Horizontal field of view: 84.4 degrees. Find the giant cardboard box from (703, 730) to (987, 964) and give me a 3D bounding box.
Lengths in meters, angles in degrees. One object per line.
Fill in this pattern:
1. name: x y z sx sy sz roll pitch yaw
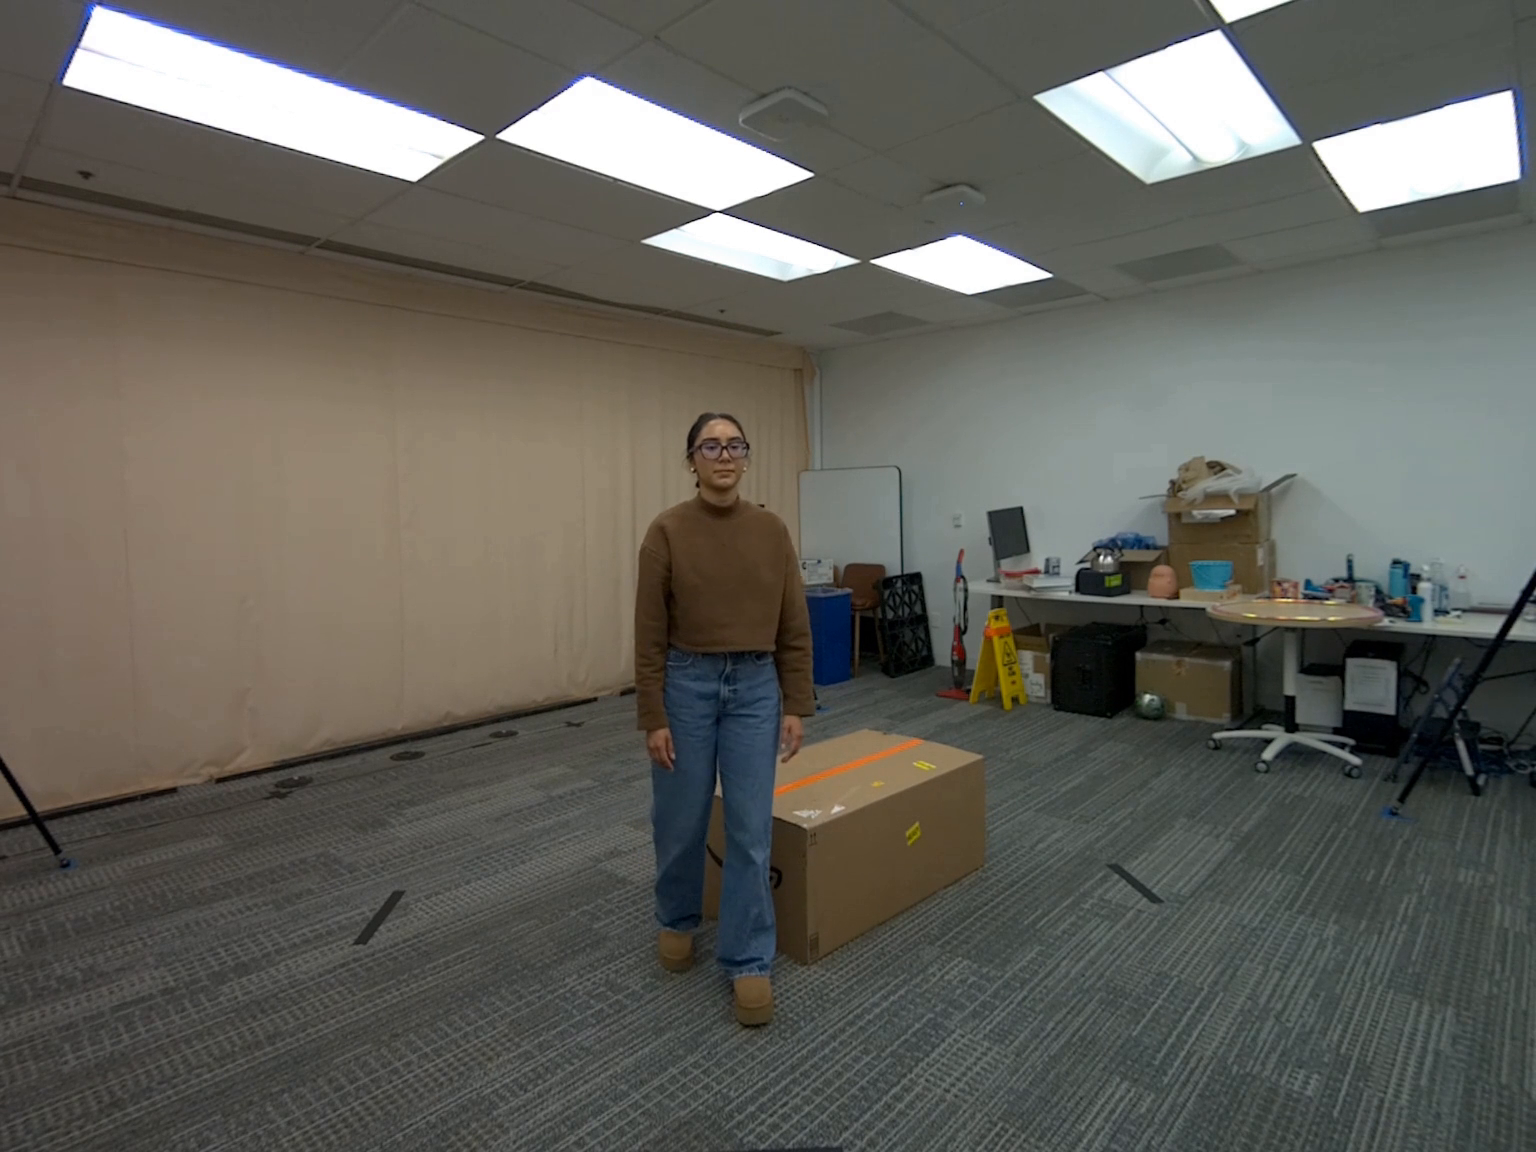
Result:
1. giant cardboard box: 0.272 0.917 3.073 0.996 0.446 0.603 -6 6 -44
